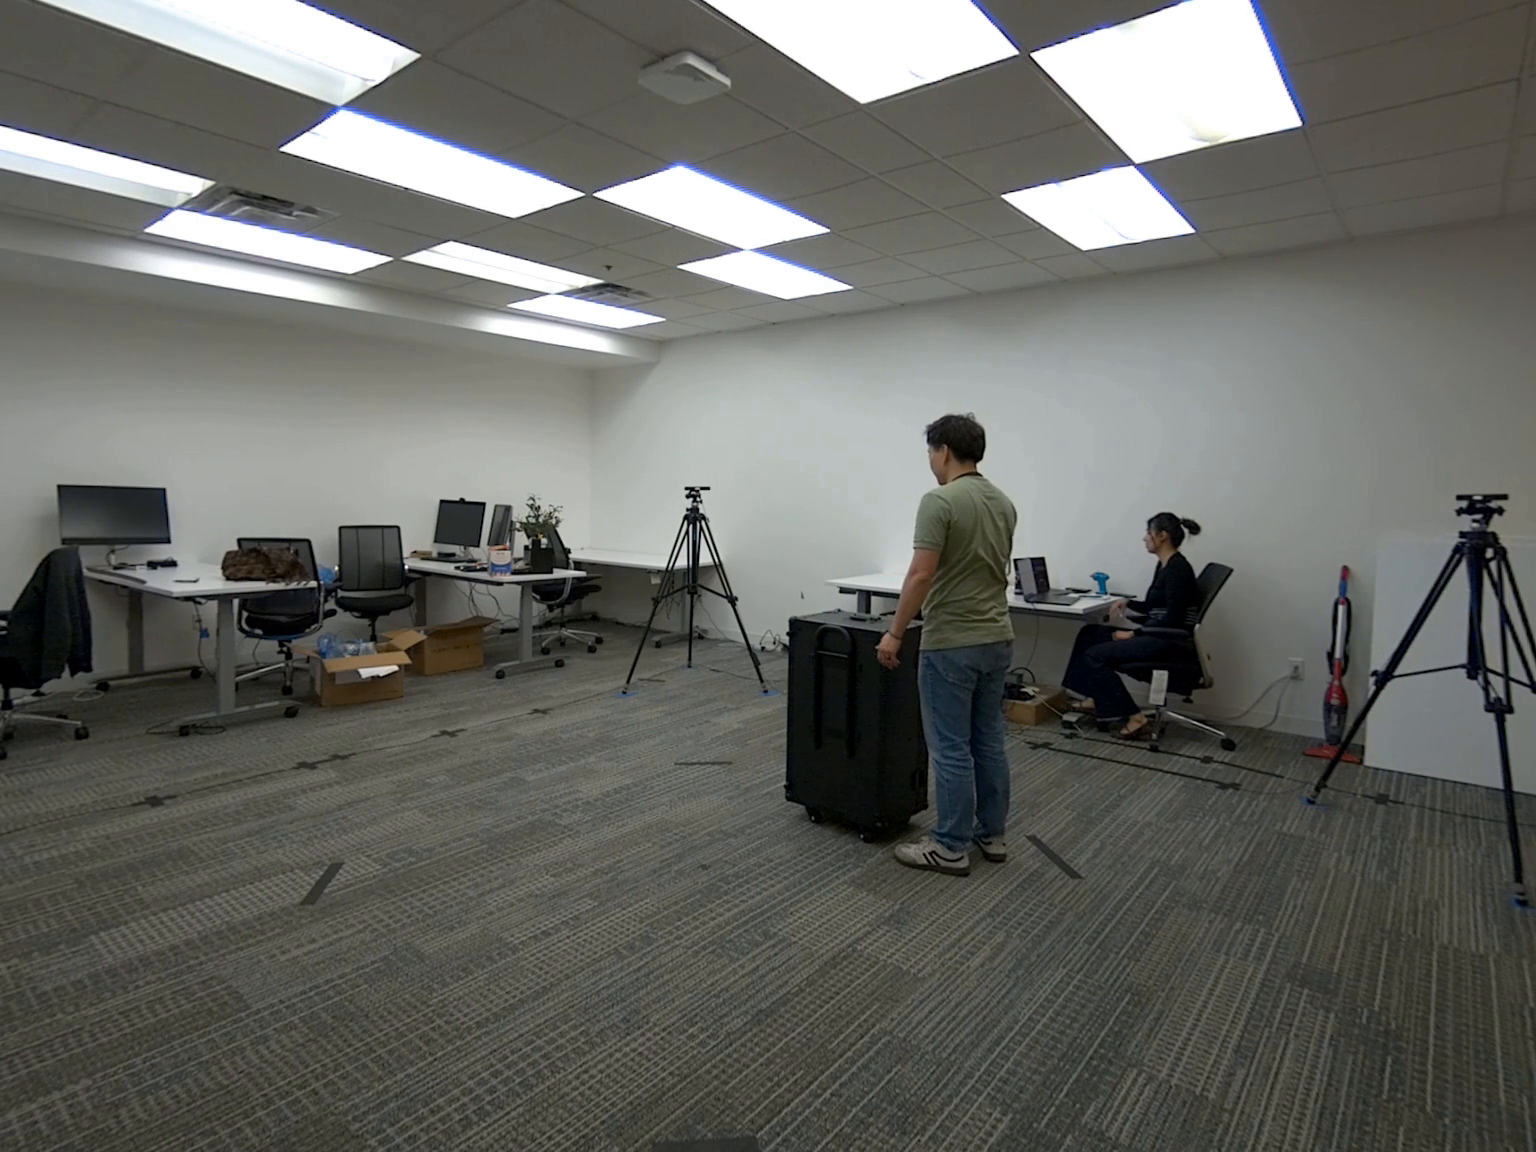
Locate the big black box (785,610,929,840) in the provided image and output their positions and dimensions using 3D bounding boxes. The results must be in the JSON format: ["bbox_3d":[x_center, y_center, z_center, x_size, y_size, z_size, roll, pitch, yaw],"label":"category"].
[{"bbox_3d":[0.358,0.605,3.561,0.539,0.858,0.384,4,6,41],"label":"big black box"}]
